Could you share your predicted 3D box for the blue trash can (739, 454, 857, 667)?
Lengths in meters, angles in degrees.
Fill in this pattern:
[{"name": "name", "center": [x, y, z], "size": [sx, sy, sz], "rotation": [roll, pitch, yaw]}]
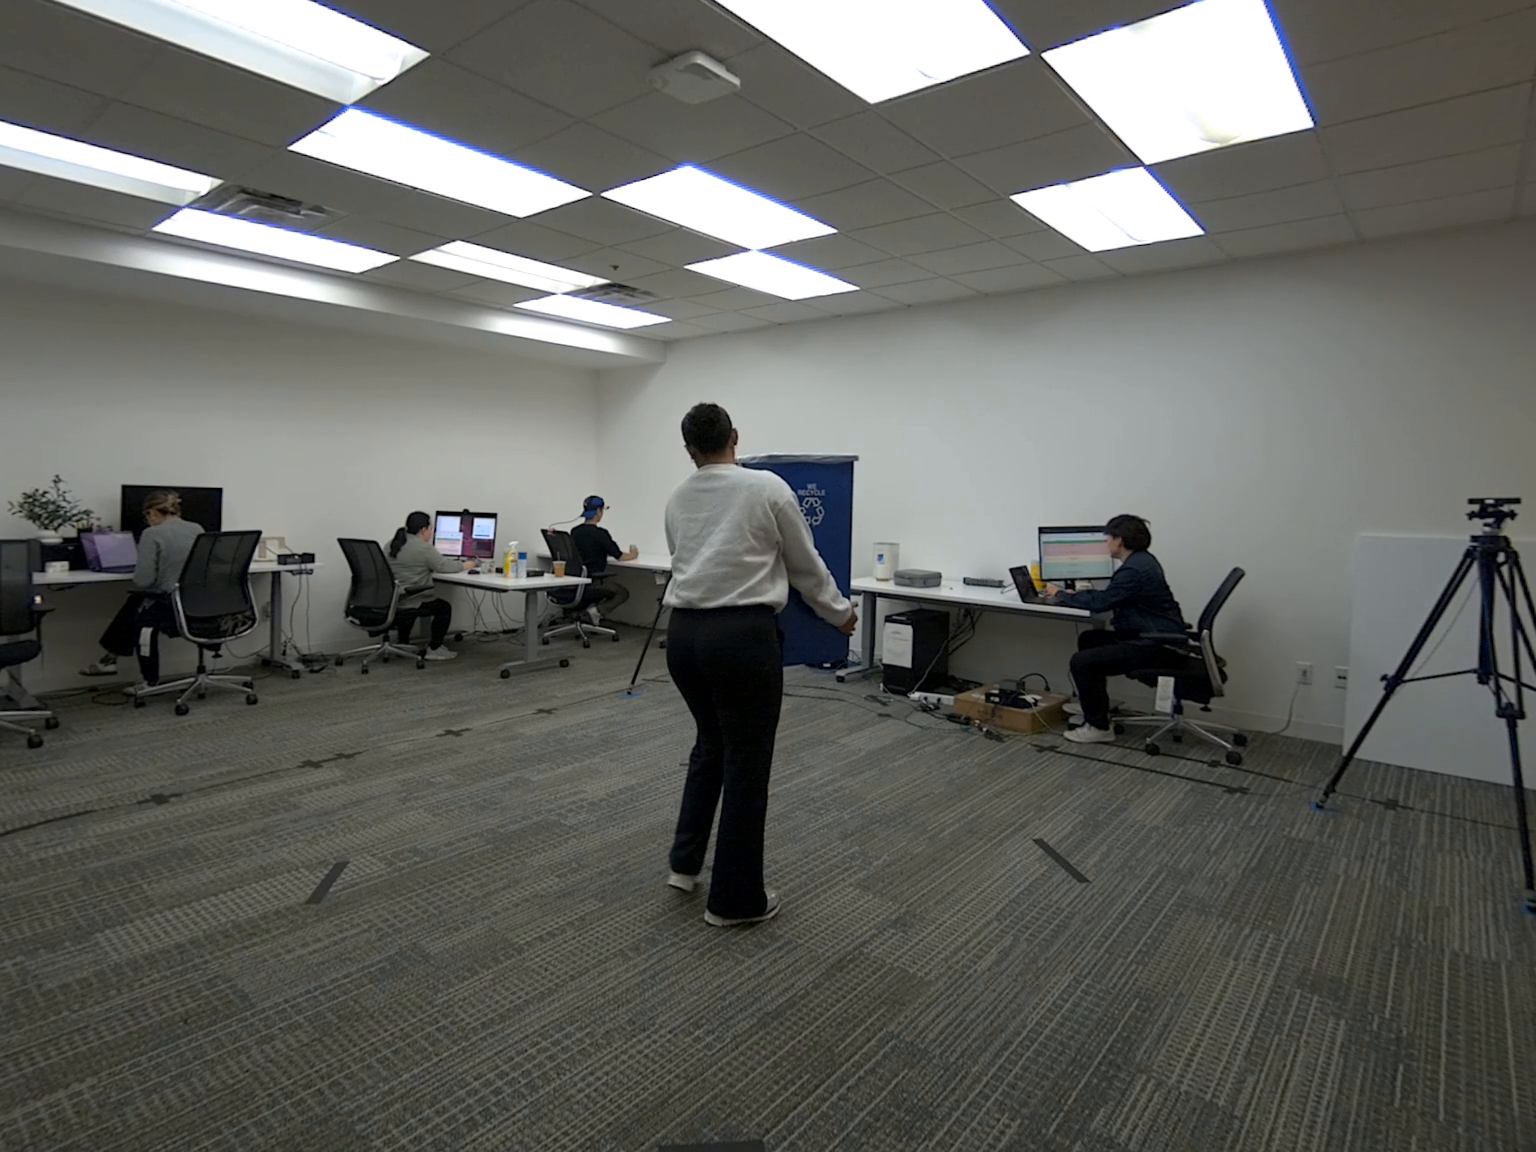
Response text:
[{"name": "blue trash can", "center": [0.078, -0.072, 3.029], "size": [0.368, 0.712, 0.385], "rotation": [-2, 3, -29]}]
